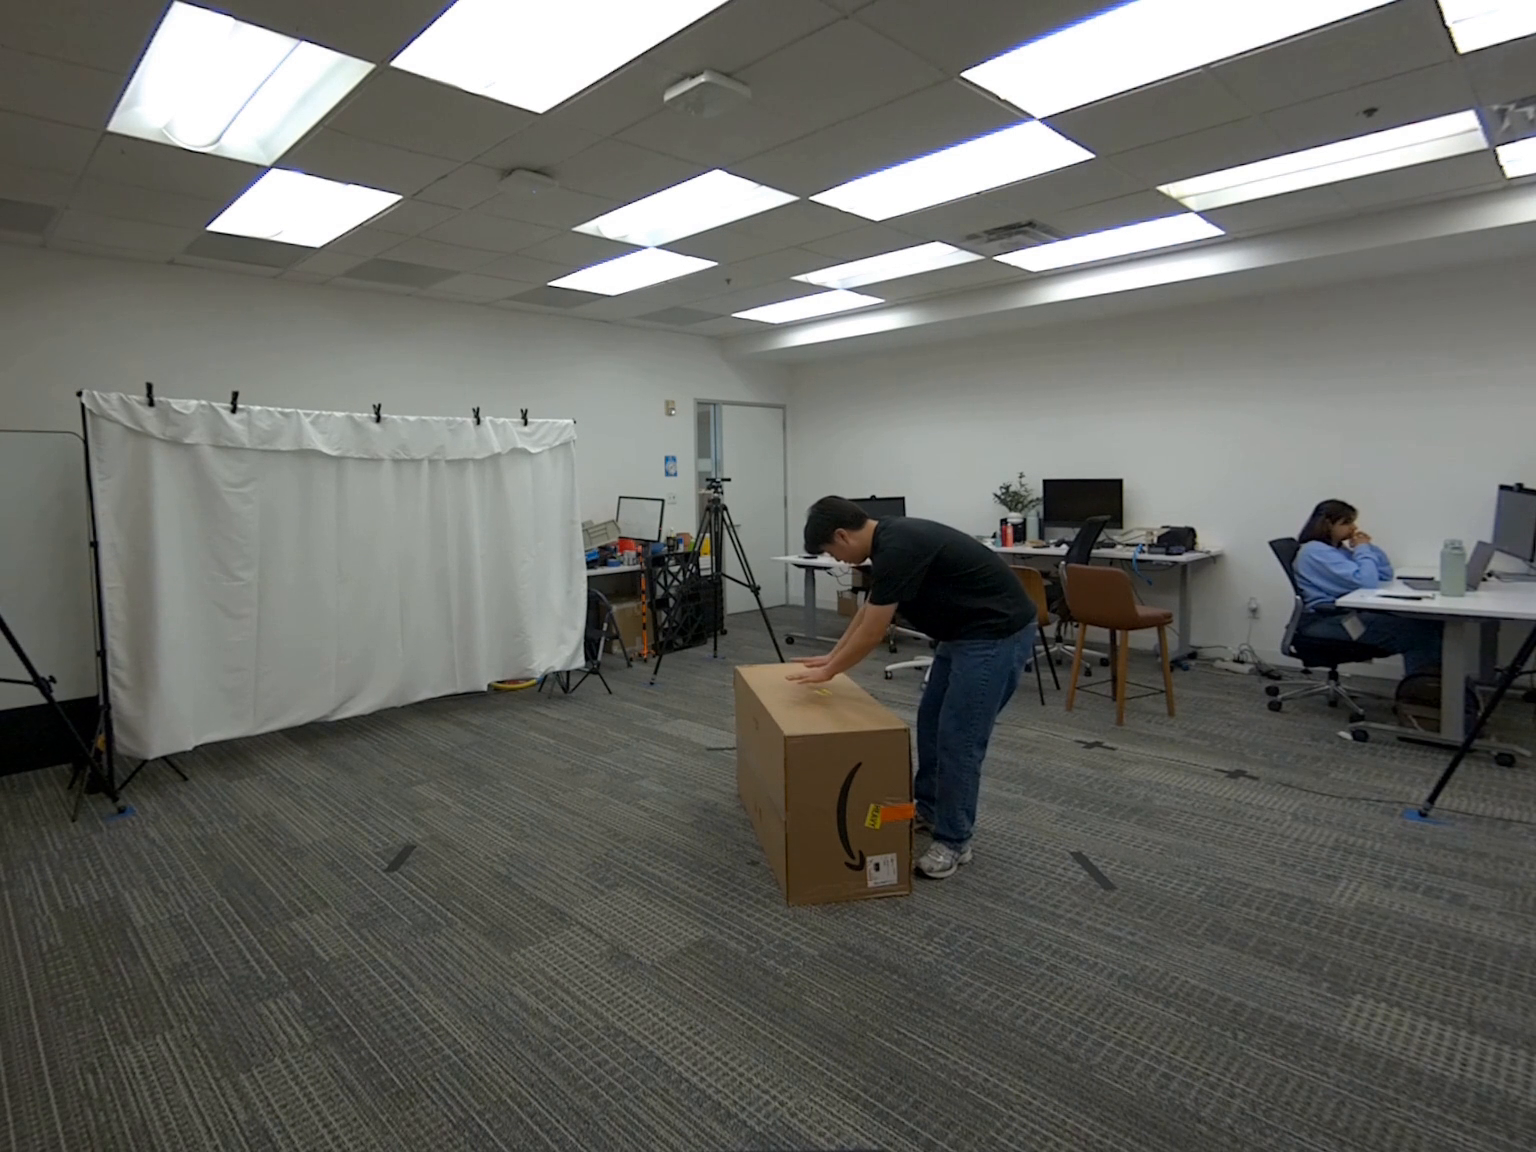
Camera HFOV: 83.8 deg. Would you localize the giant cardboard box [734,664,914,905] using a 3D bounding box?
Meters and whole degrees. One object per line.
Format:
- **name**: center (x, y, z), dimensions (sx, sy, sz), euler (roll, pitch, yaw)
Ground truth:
- **giant cardboard box**: center (0.171, 0.727, 3.296), dimensions (0.442, 0.581, 1.042), euler (-1, 6, -11)
